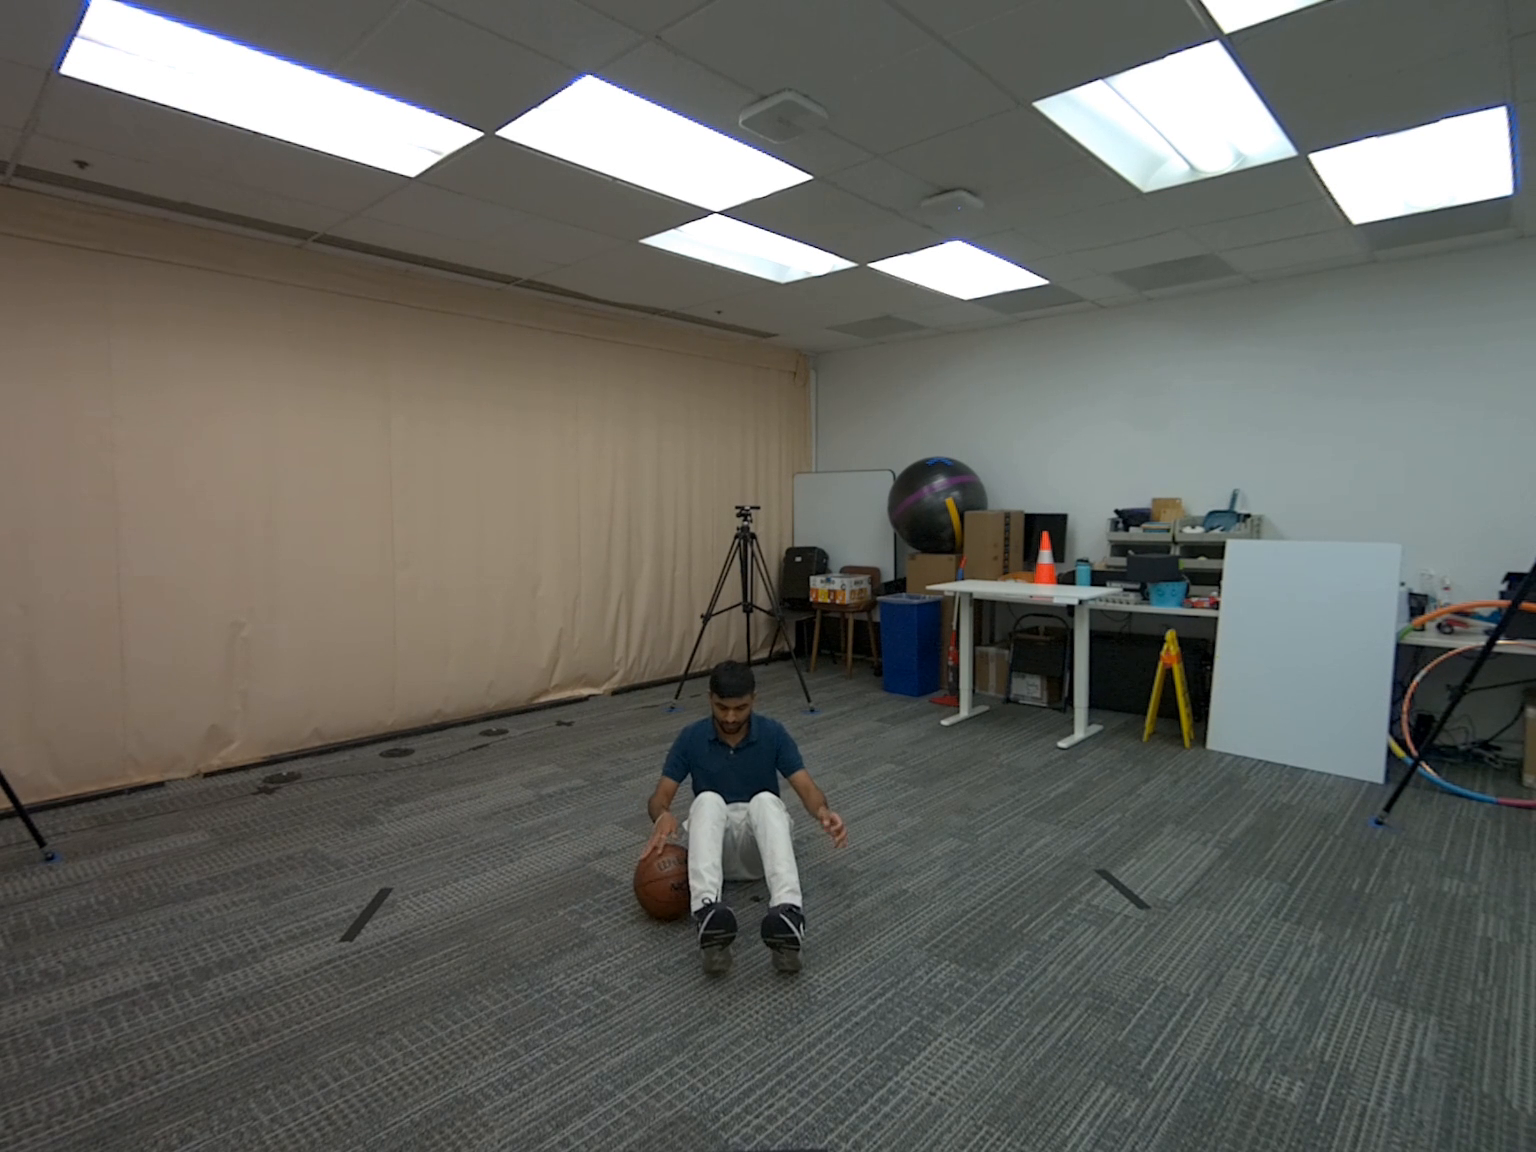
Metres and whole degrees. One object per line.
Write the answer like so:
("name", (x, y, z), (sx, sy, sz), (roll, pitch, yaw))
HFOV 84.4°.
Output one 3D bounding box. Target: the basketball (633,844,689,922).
("basketball", (-0.327, 1.032, 2.876), (0.236, 0.235, 0.237), (0, 4, -2))
